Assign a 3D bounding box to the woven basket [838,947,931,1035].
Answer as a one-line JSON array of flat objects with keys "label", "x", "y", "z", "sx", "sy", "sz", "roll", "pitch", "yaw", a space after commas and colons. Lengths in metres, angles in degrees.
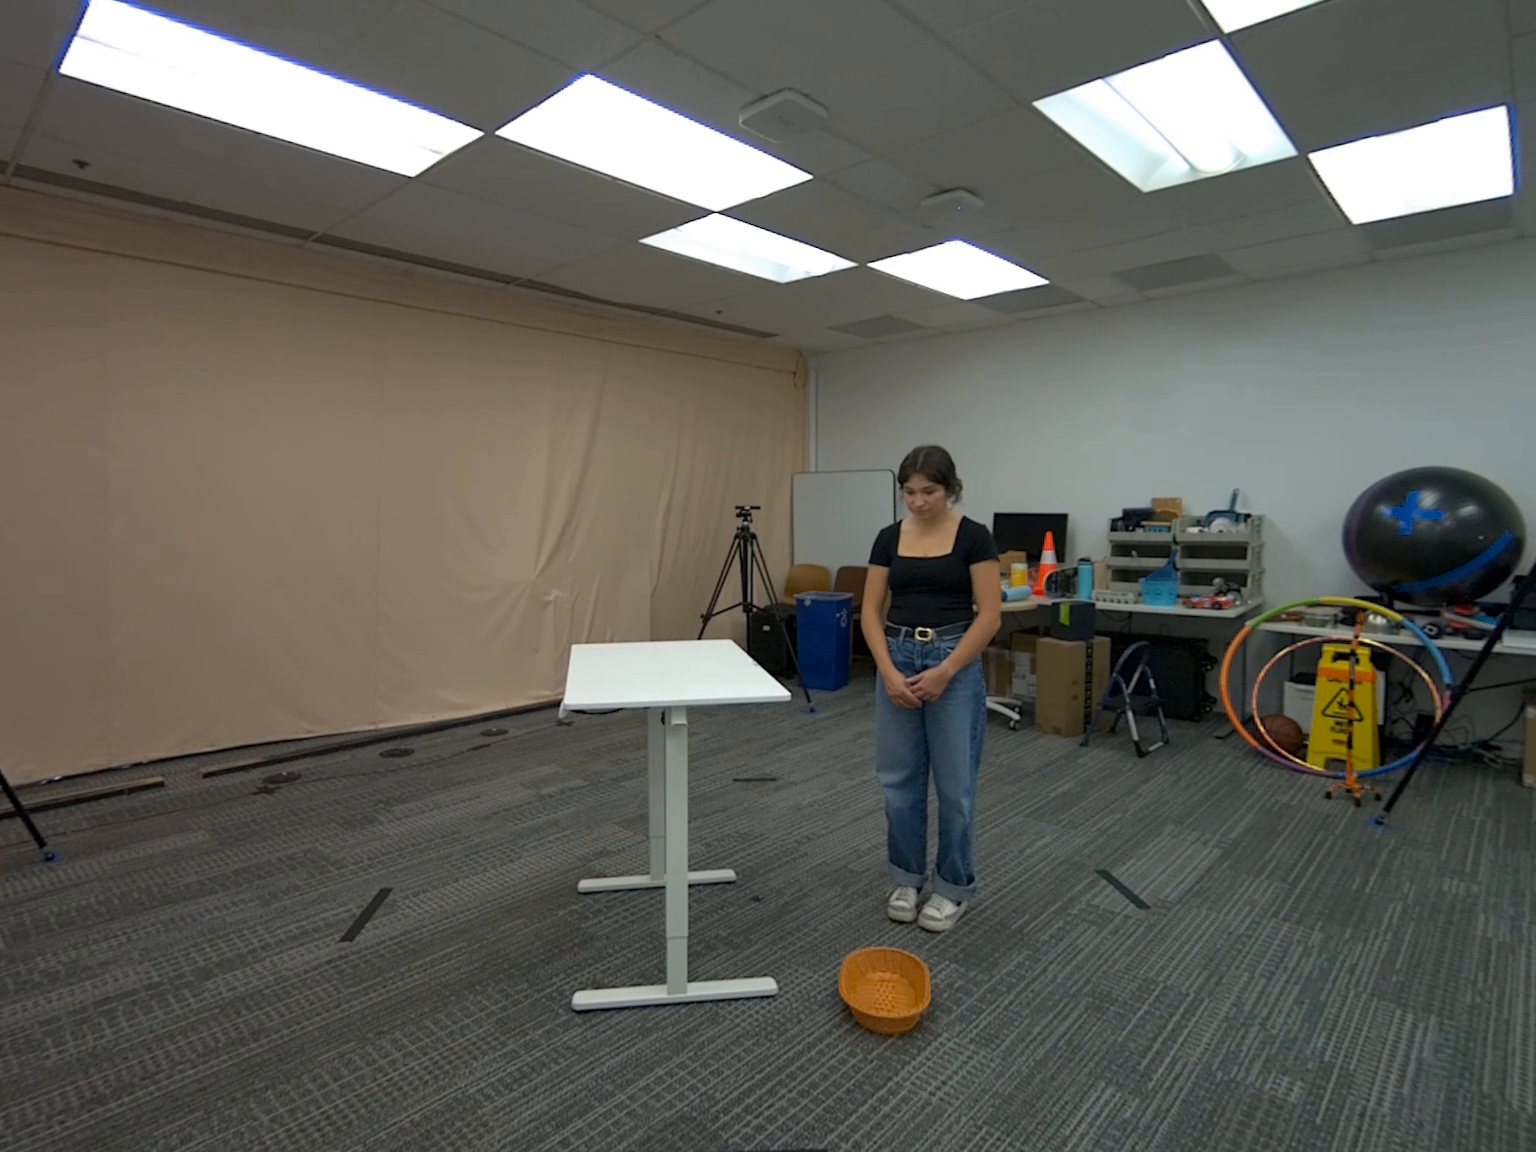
[{"label": "woven basket", "x": 0.332, "y": 1.159, "z": 2.354, "sx": 0.257, "sy": 0.073, "sz": 0.345, "roll": 0, "pitch": 5, "yaw": 15}]
